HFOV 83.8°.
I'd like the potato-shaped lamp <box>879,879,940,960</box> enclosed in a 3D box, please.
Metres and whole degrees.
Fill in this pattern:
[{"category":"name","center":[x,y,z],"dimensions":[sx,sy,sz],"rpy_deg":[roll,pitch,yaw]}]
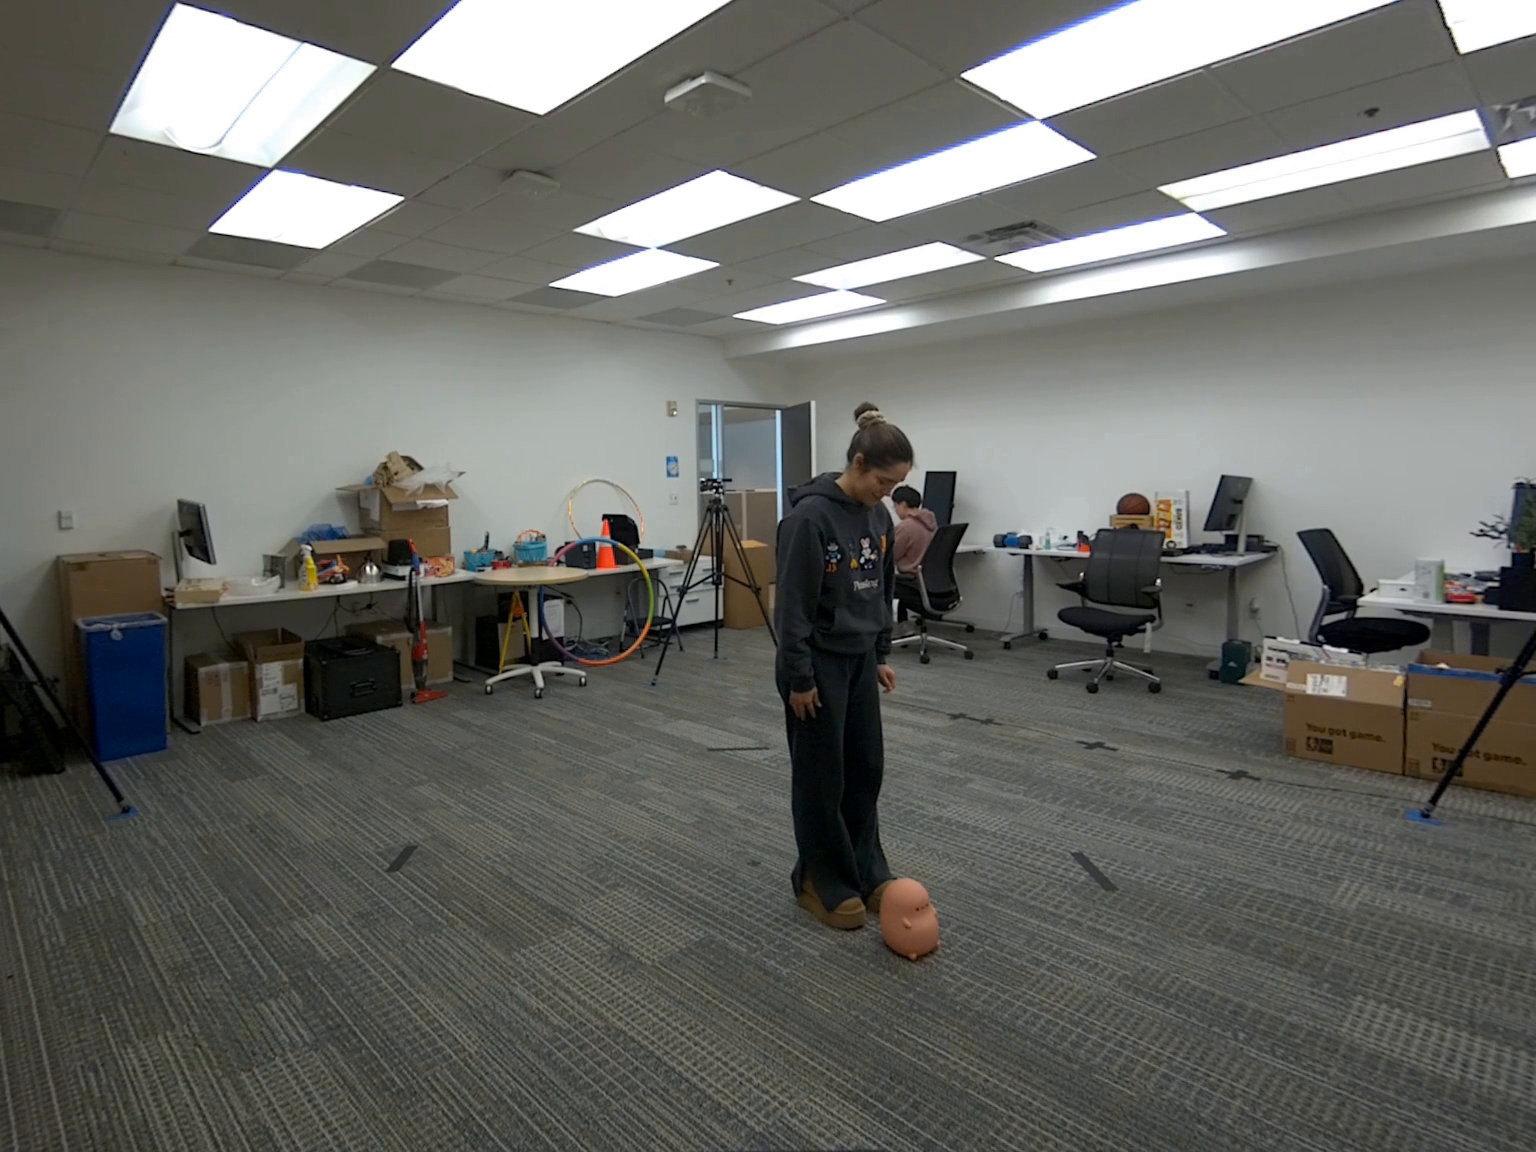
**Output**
[{"category":"potato-shaped lamp","center":[0.417,1.001,2.529],"dimensions":[0.160,0.197,0.176],"rpy_deg":[-5,7,-37]}]
